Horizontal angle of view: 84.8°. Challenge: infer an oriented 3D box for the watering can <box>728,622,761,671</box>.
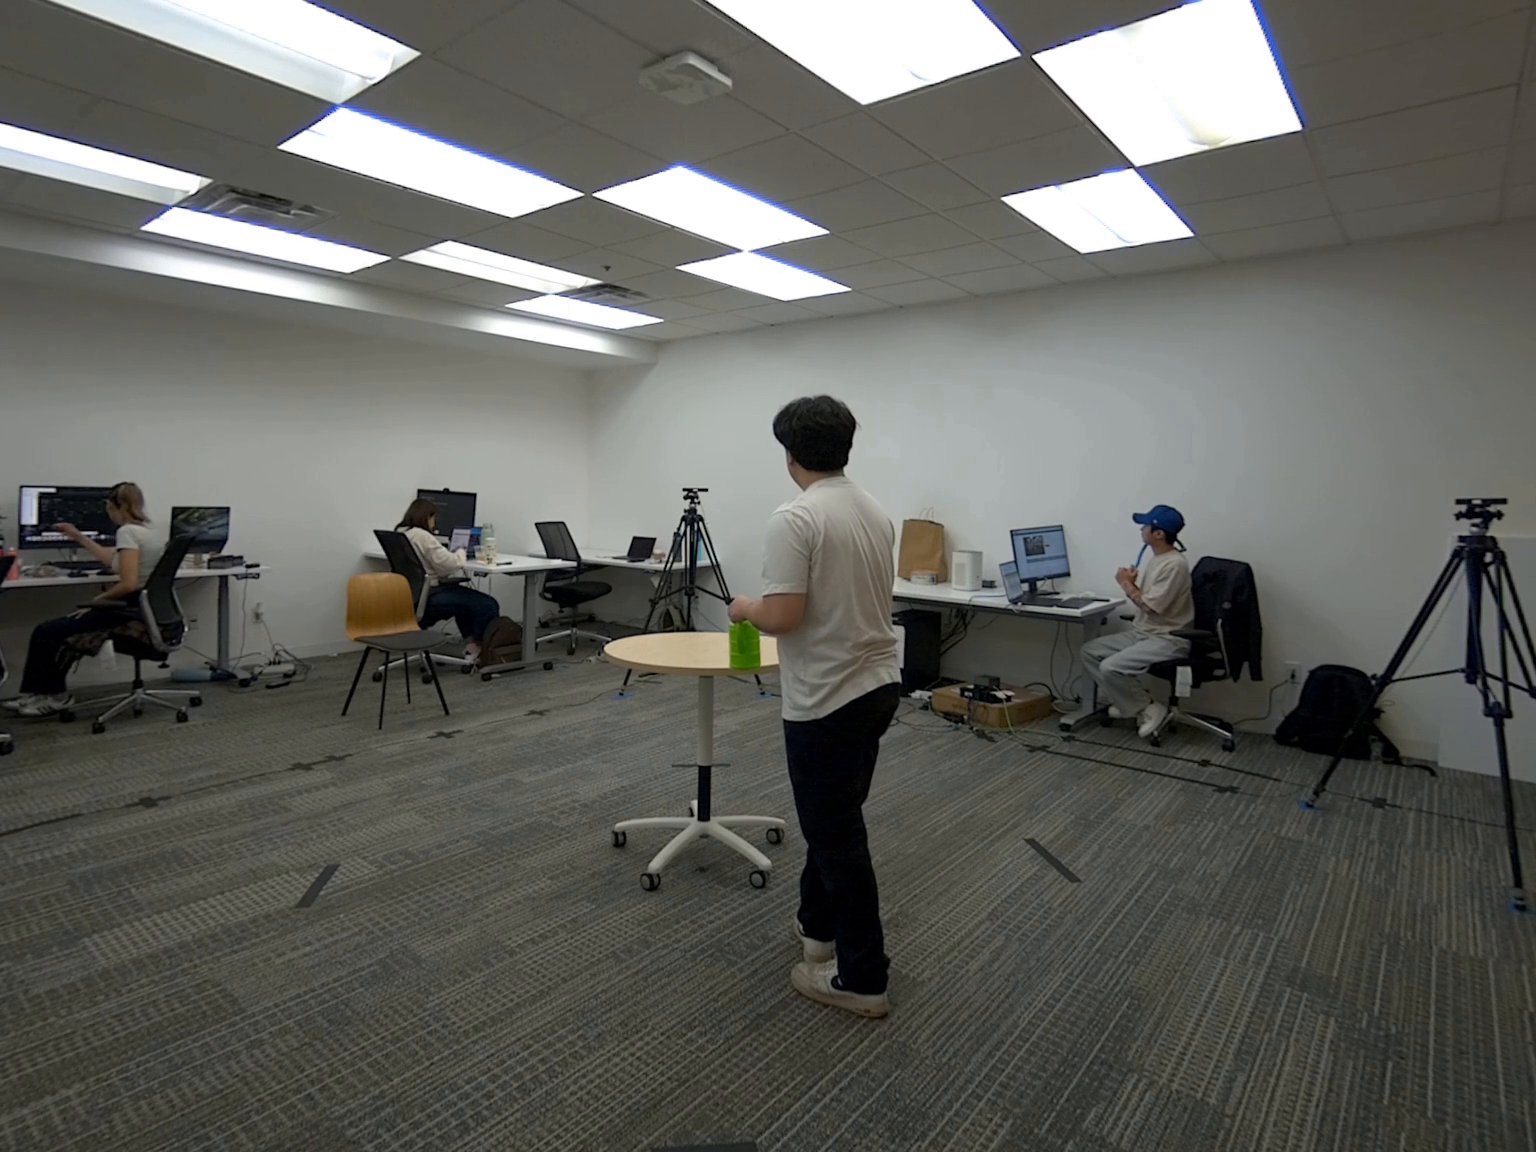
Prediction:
[{"bbox_3d":[-0.059,0.182,2.613,0.100,0.176,0.273,-2,3,22],"label":"watering can"}]
